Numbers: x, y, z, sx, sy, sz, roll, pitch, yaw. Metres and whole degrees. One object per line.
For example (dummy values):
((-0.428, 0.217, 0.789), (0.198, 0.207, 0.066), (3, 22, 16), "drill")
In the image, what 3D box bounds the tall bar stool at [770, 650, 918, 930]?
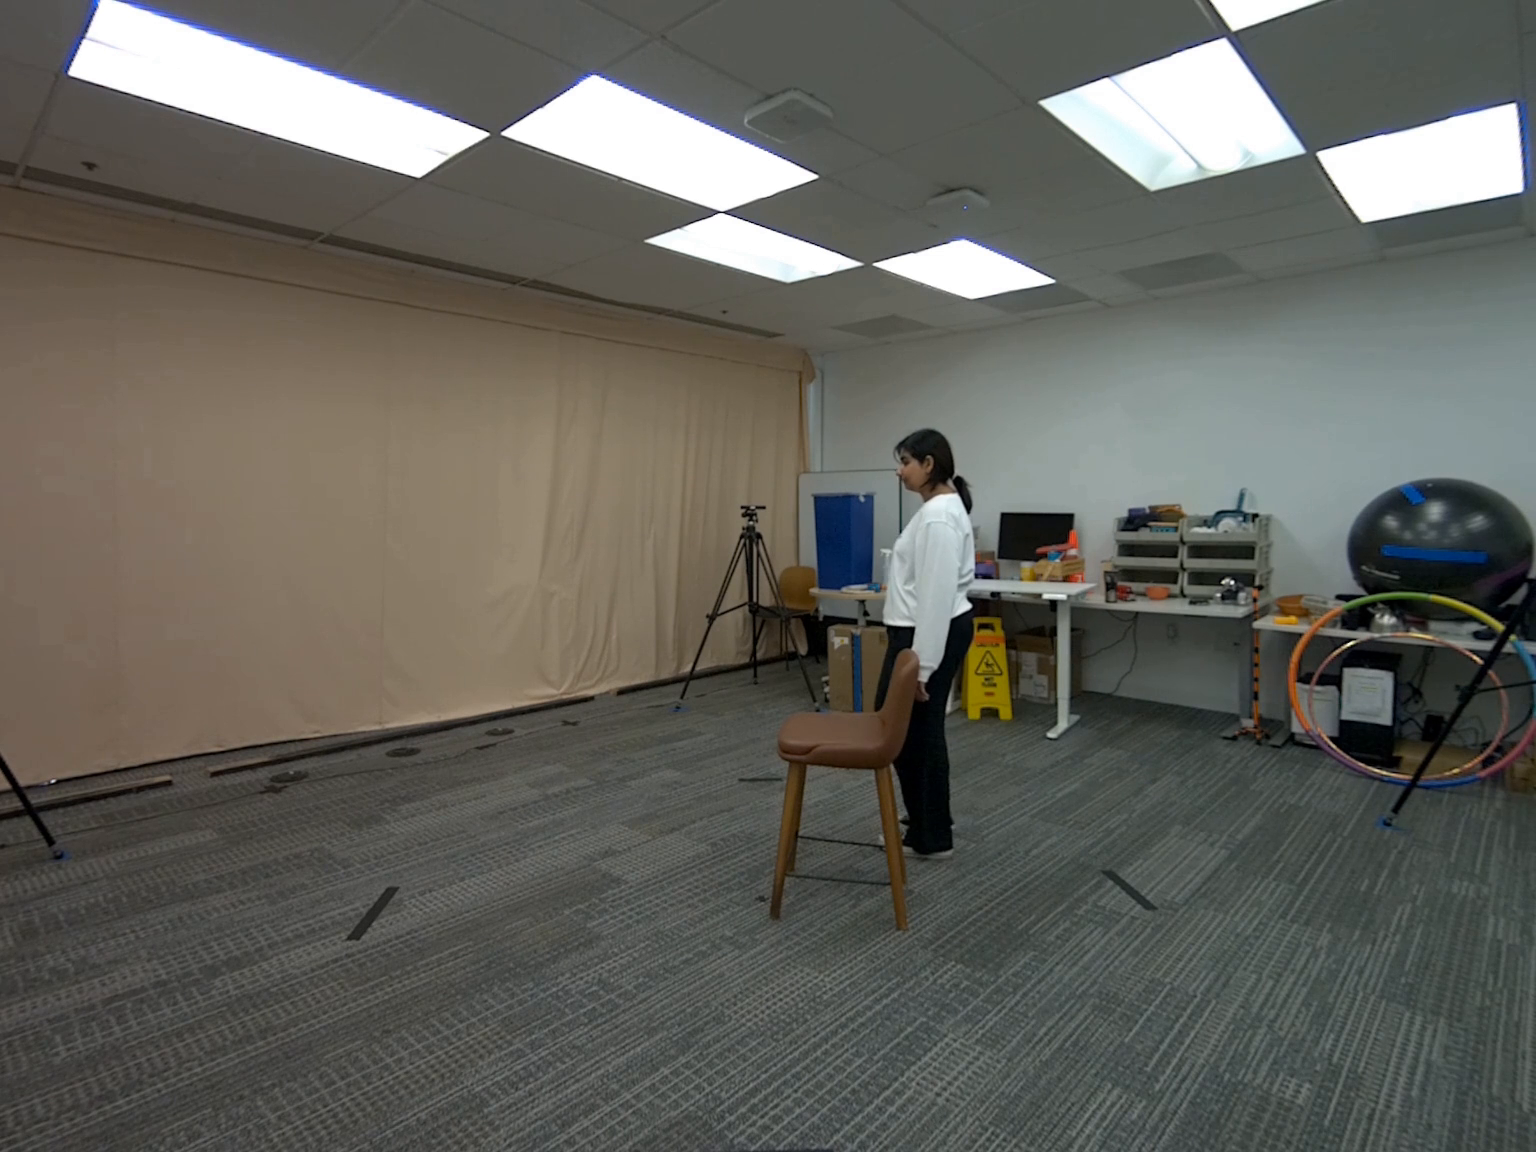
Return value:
((0.277, 0.709, 2.962), (0.474, 0.888, 0.451), (3, 4, 12), "tall bar stool")
